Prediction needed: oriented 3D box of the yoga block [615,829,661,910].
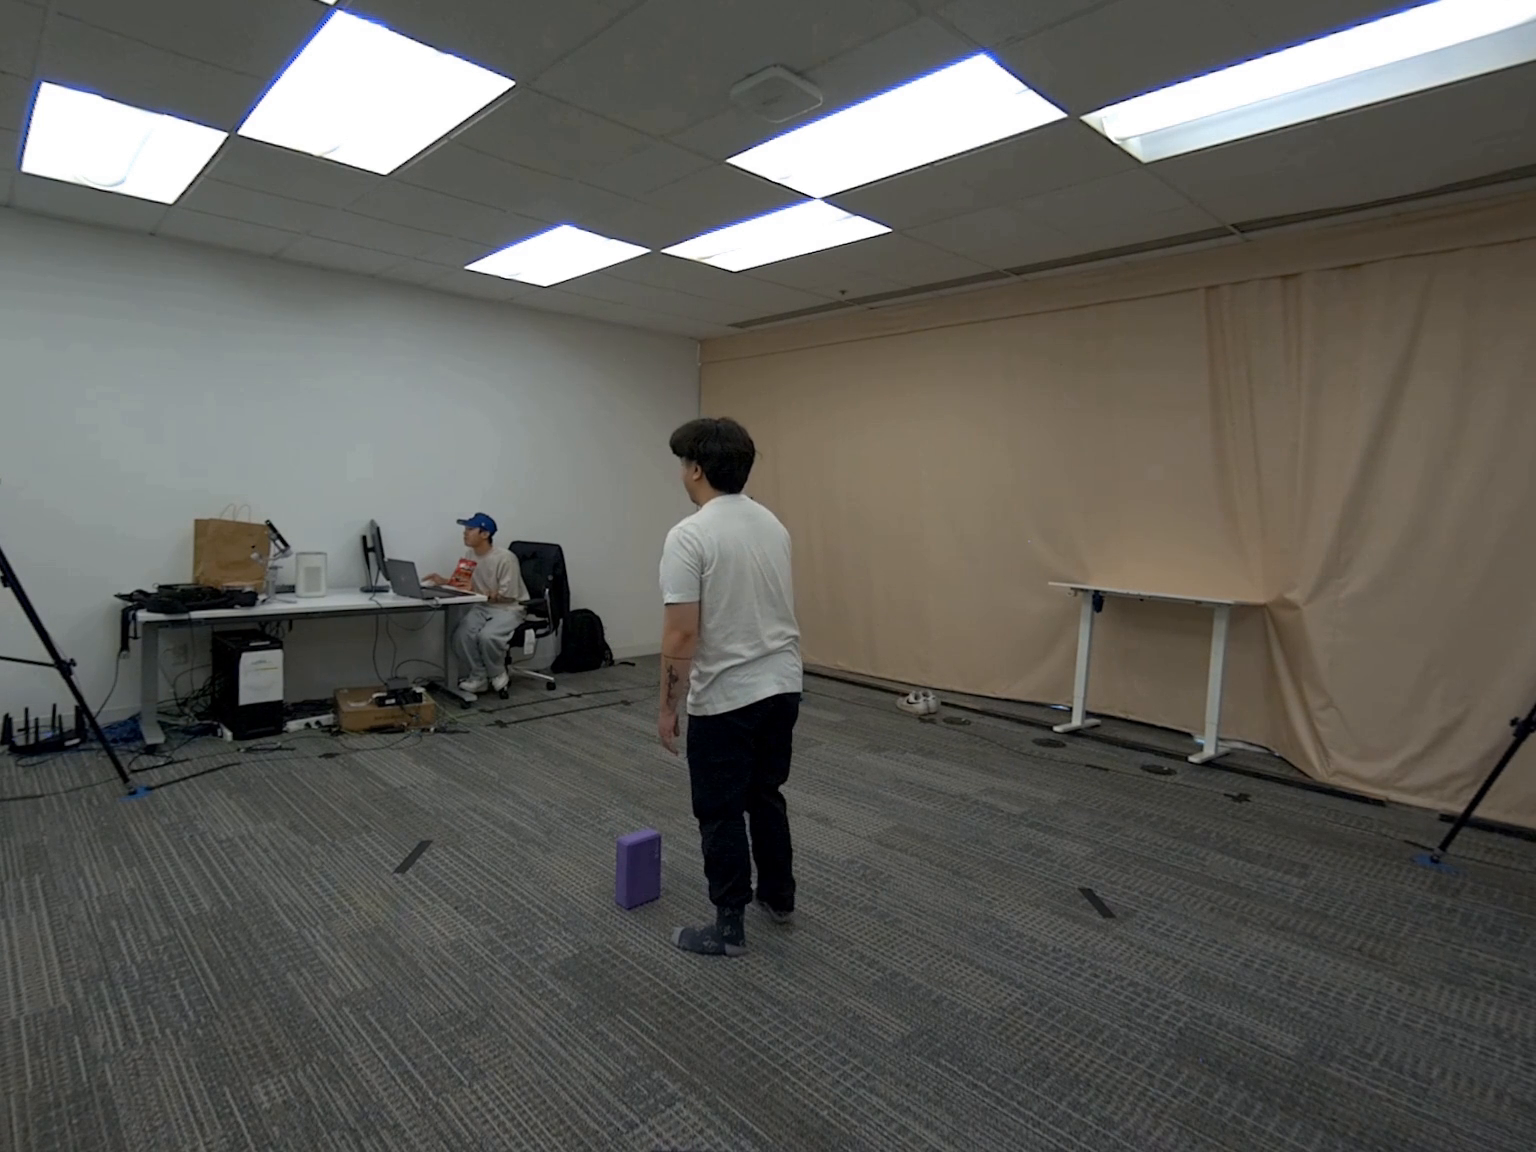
[{"bbox_3d":[-0.453,1.007,2.896,0.146,0.229,0.078,-3,5,-40],"label":"yoga block"}]
